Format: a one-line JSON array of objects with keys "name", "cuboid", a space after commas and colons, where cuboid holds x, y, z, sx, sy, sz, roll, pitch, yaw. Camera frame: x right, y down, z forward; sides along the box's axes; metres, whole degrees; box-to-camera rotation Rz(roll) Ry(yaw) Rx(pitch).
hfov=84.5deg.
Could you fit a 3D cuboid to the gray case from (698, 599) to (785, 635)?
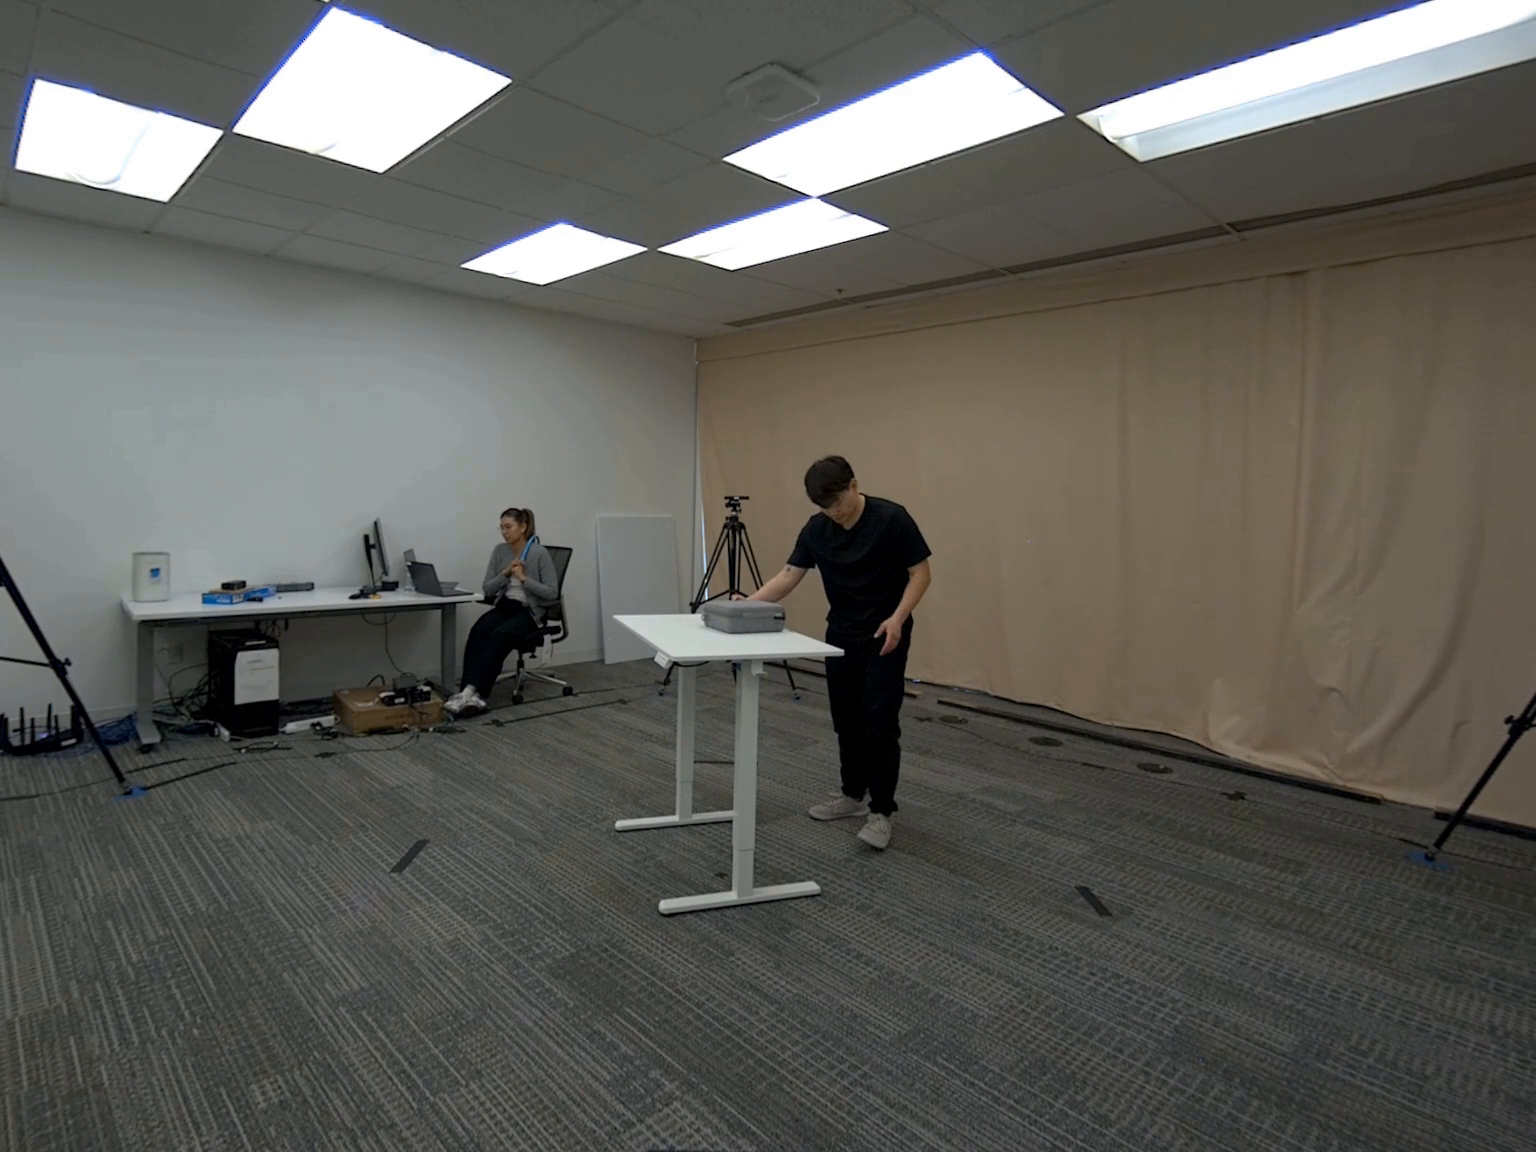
[{"name": "gray case", "cuboid": [-0.106, 0.158, 3.283, 0.252, 0.104, 0.266, -2, 4, -28]}]
